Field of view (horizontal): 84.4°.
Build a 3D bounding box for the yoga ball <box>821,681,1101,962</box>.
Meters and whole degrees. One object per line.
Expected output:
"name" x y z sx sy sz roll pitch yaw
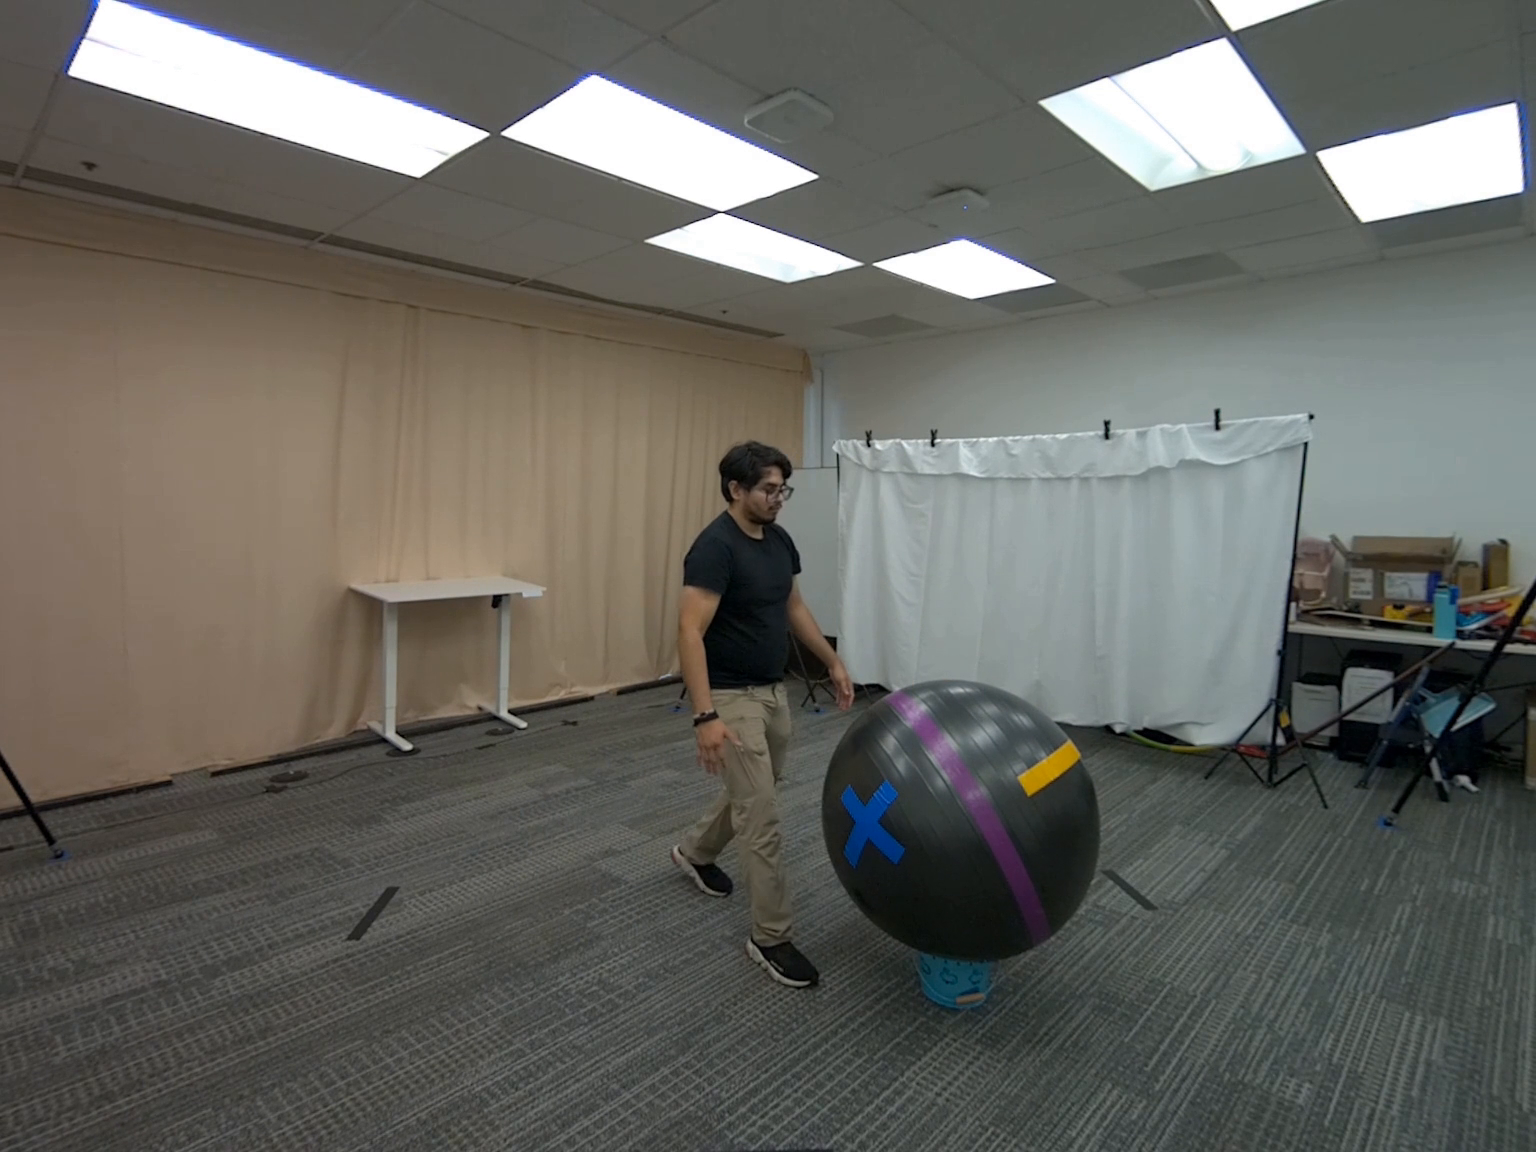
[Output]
"yoga ball" 0.538 0.687 2.397 0.757 0.756 0.760 0 4 -2
